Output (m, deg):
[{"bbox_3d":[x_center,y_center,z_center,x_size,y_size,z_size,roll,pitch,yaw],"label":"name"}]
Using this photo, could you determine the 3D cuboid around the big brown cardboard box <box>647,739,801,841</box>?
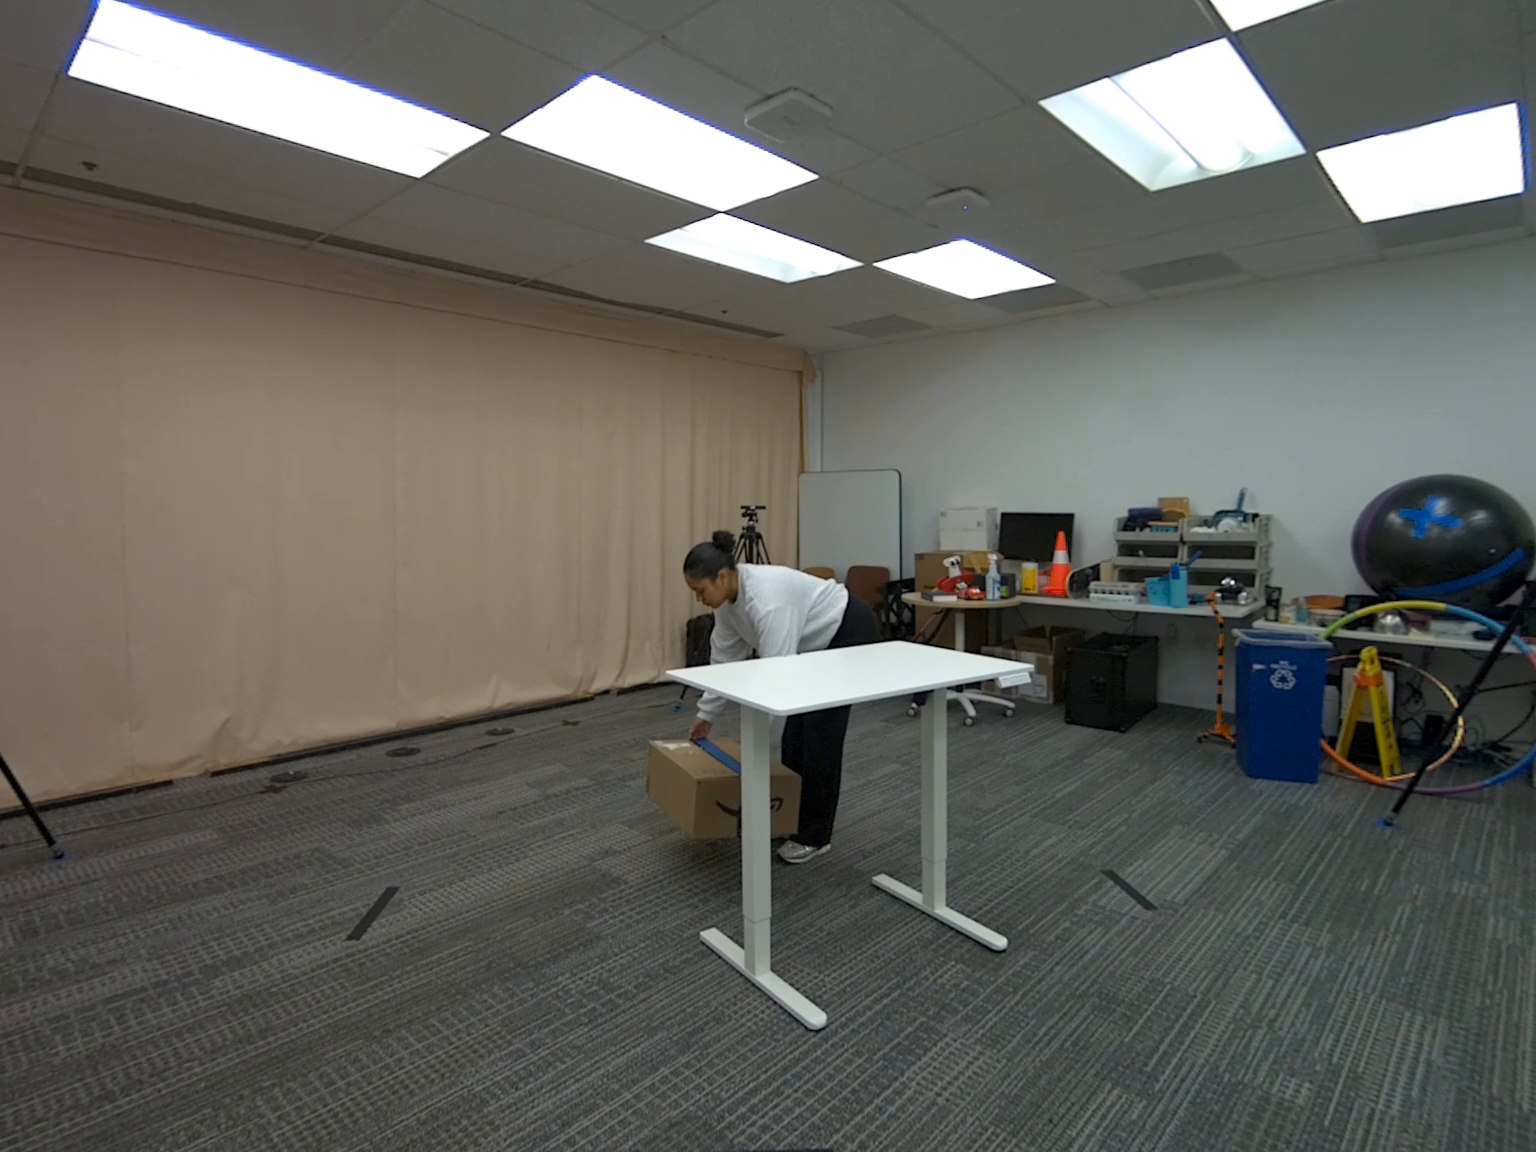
[{"bbox_3d":[-0.189,0.804,3.287,0.407,0.233,0.604,4,2,-24],"label":"big brown cardboard box"}]
